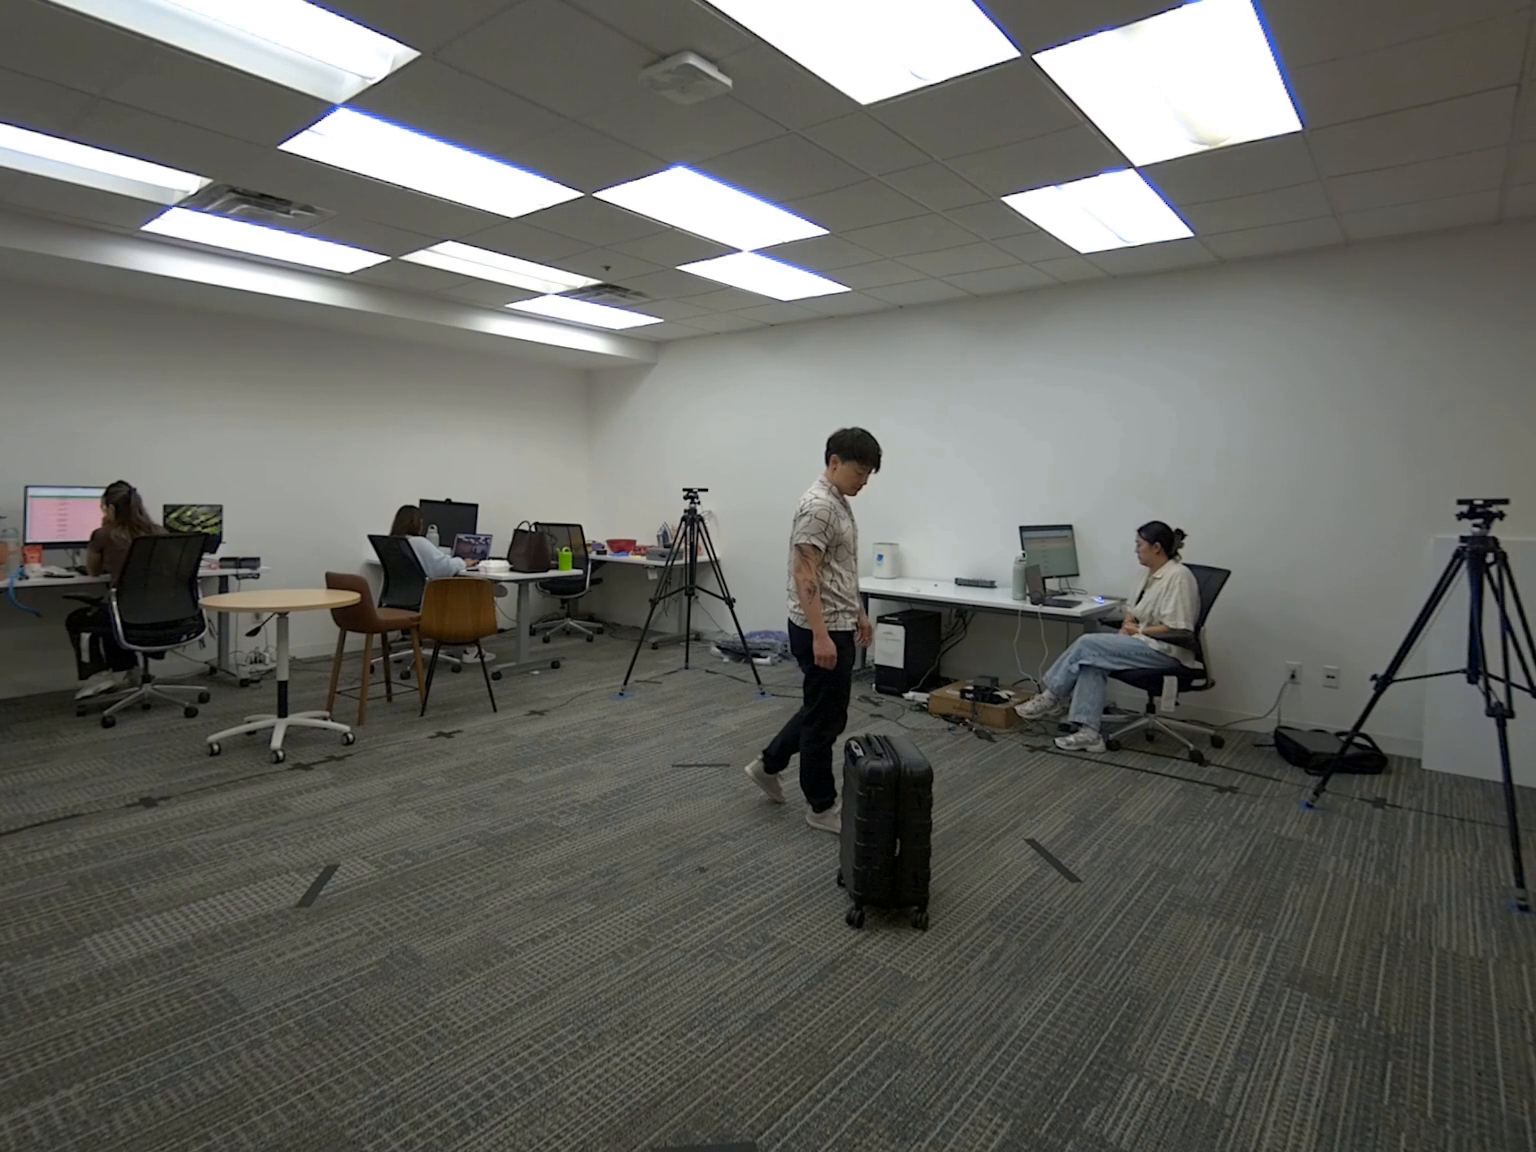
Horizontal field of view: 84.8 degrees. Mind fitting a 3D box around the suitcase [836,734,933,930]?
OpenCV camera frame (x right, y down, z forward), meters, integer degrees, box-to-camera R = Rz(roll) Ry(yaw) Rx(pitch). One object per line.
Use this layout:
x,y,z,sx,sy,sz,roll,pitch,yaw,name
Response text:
0.390,0.831,2.880,0.247,0.548,0.377,1,2,-4,suitcase
